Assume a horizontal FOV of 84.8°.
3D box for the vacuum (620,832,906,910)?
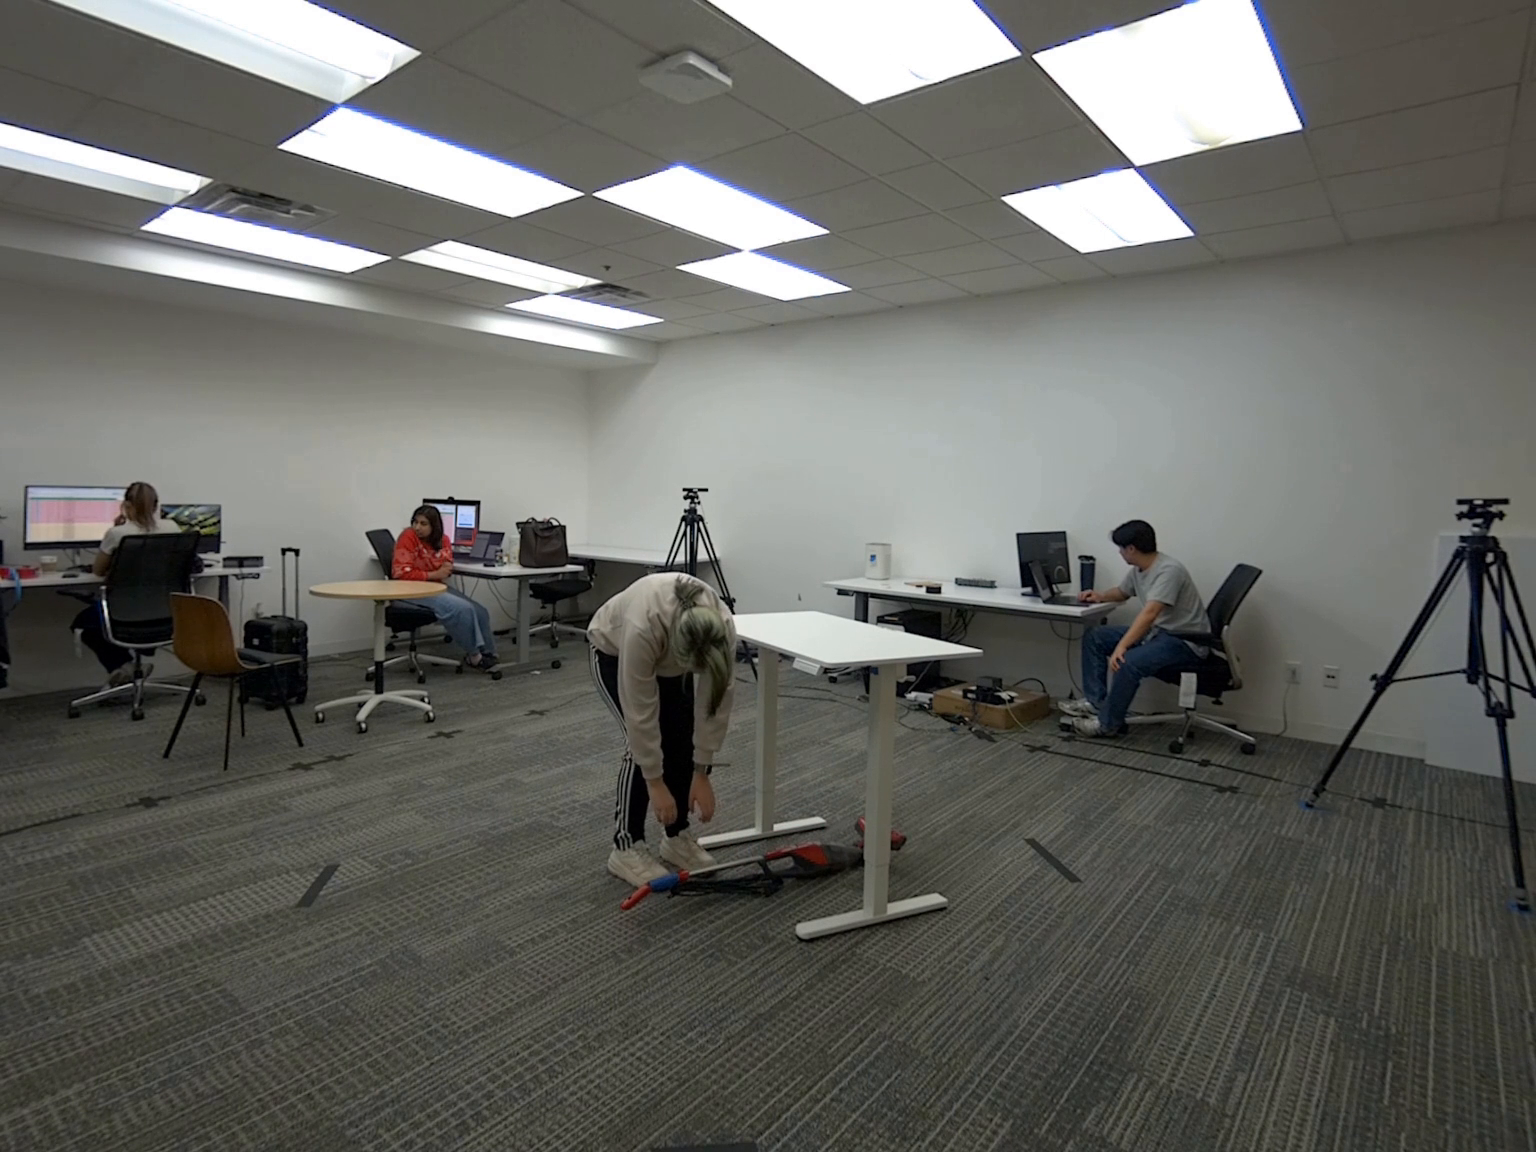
[{"bbox_3d":[-0.026,1.031,2.961,1.021,0.143,0.261,-4,9,-32],"label":"vacuum"}]
